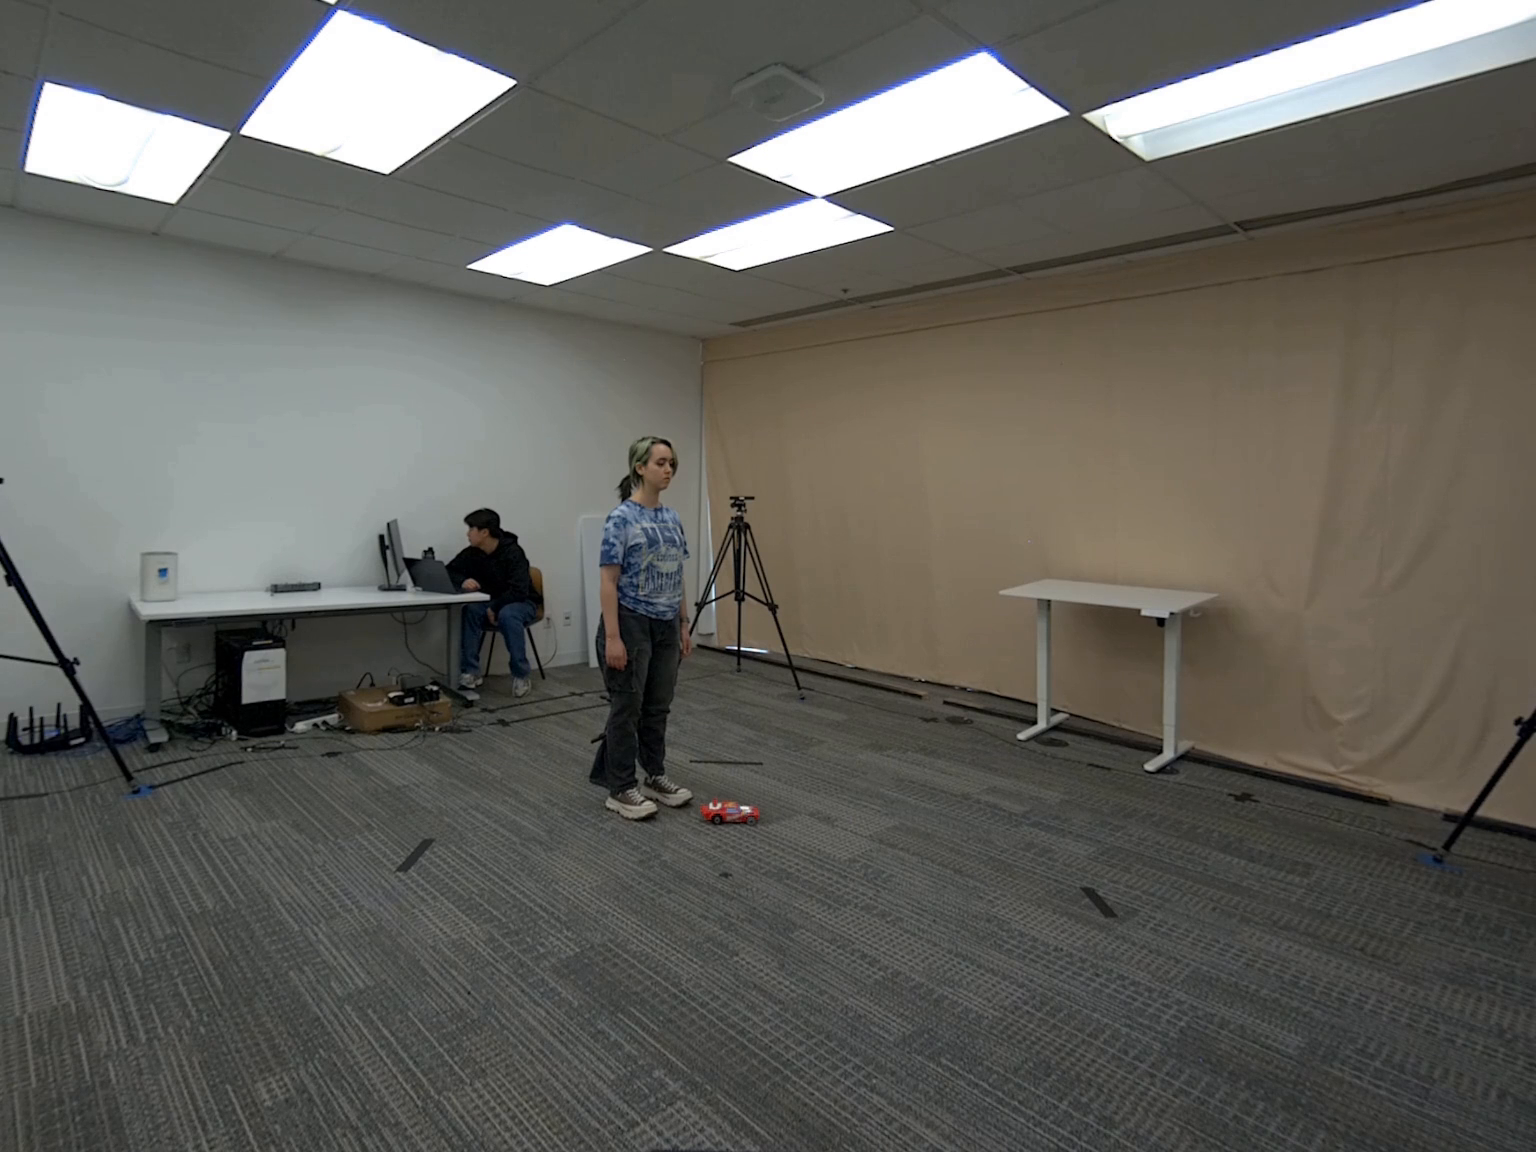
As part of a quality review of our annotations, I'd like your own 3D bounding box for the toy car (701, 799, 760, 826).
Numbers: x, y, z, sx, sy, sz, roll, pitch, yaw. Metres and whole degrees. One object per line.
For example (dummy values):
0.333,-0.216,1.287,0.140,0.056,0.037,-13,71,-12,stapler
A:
-0.179,1.026,3.636,0.254,0.083,0.131,13,5,-3,toy car
